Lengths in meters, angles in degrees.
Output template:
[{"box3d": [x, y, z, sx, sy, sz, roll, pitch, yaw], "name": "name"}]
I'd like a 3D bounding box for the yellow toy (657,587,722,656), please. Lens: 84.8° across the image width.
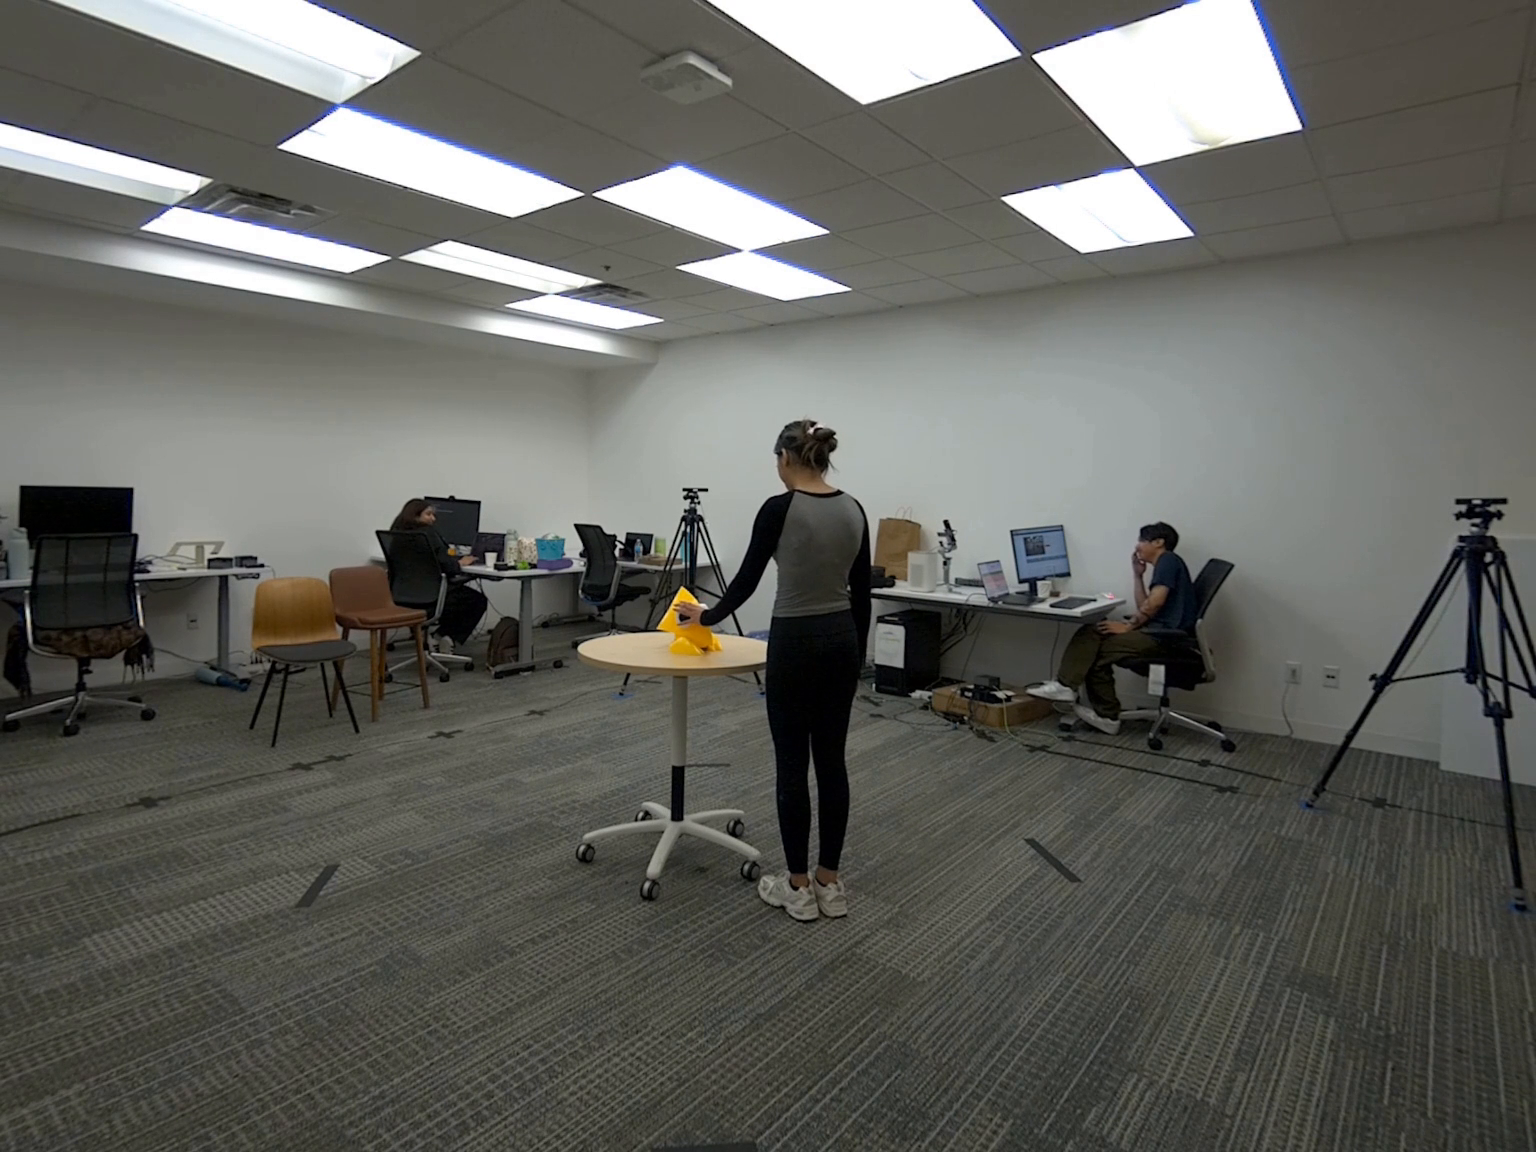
[{"box3d": [-0.283, 0.159, 3.161, 0.199, 0.230, 0.199, 4, 4, 36], "name": "yellow toy"}]
